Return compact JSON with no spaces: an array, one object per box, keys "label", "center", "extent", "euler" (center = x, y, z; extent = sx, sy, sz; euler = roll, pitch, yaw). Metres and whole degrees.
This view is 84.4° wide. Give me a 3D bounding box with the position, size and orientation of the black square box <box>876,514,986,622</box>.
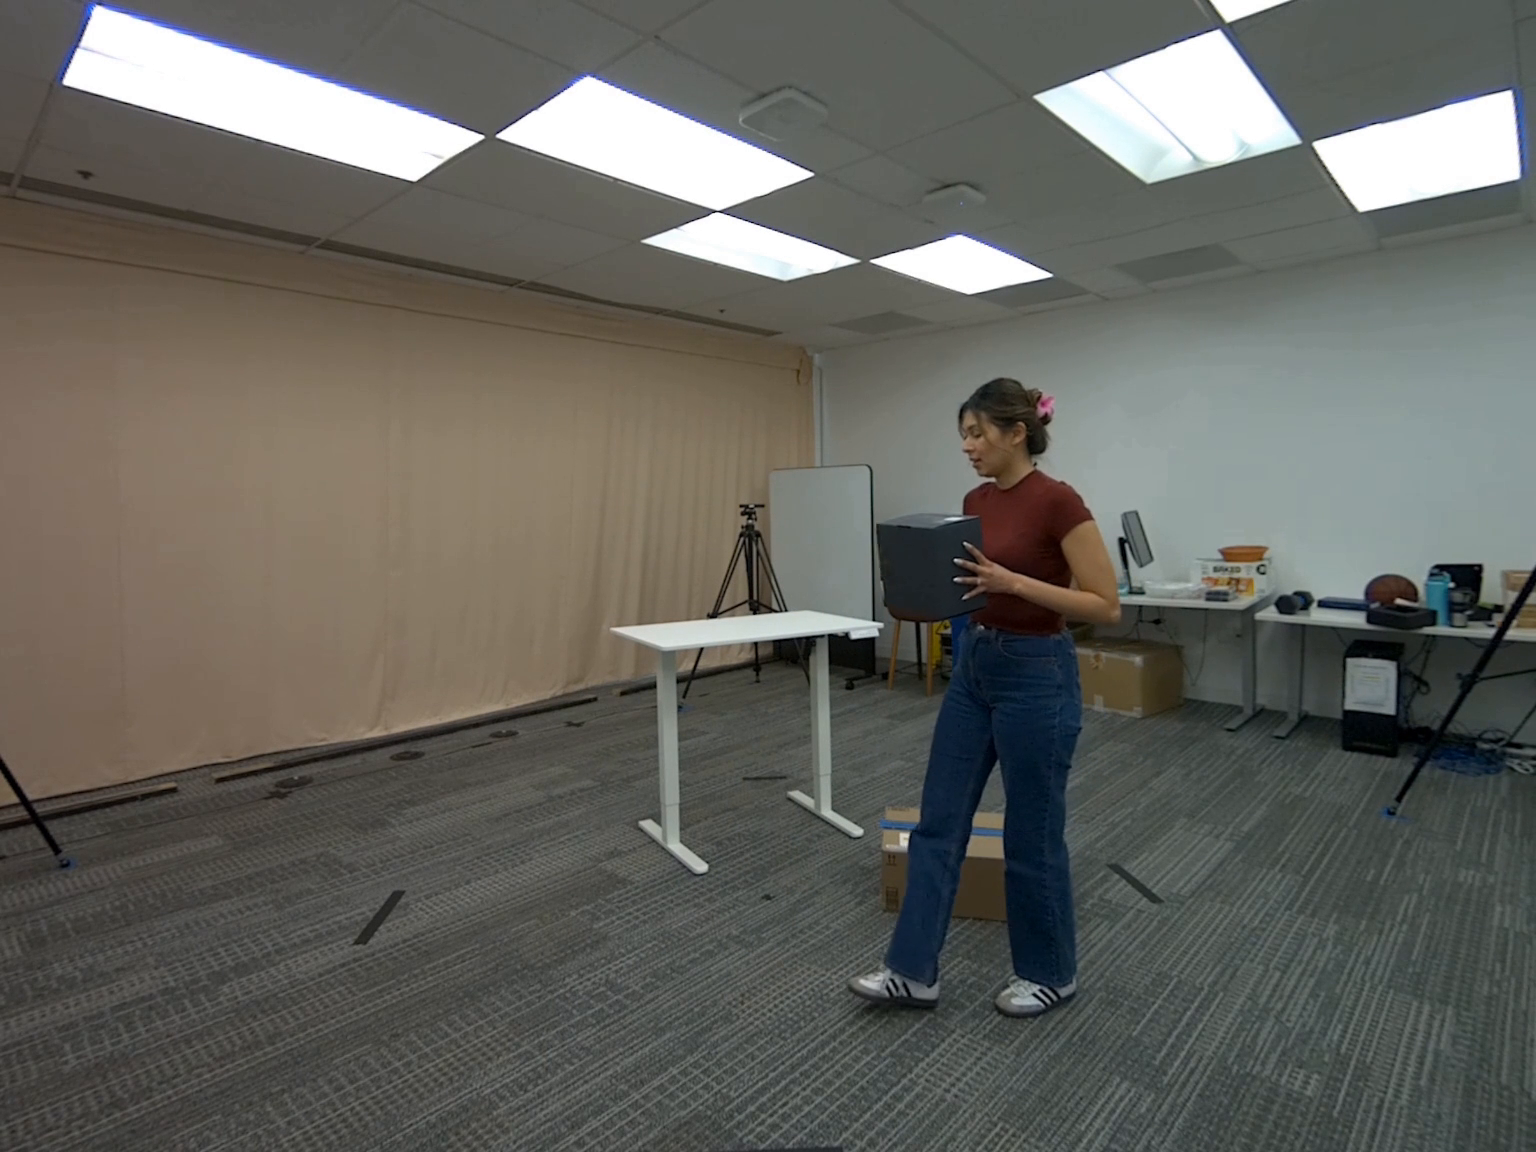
[{"label":"black square box","center":[0.418,-0.030,2.107],"extent":[0.152,0.226,0.223],"euler":[-12,11,-29]}]
